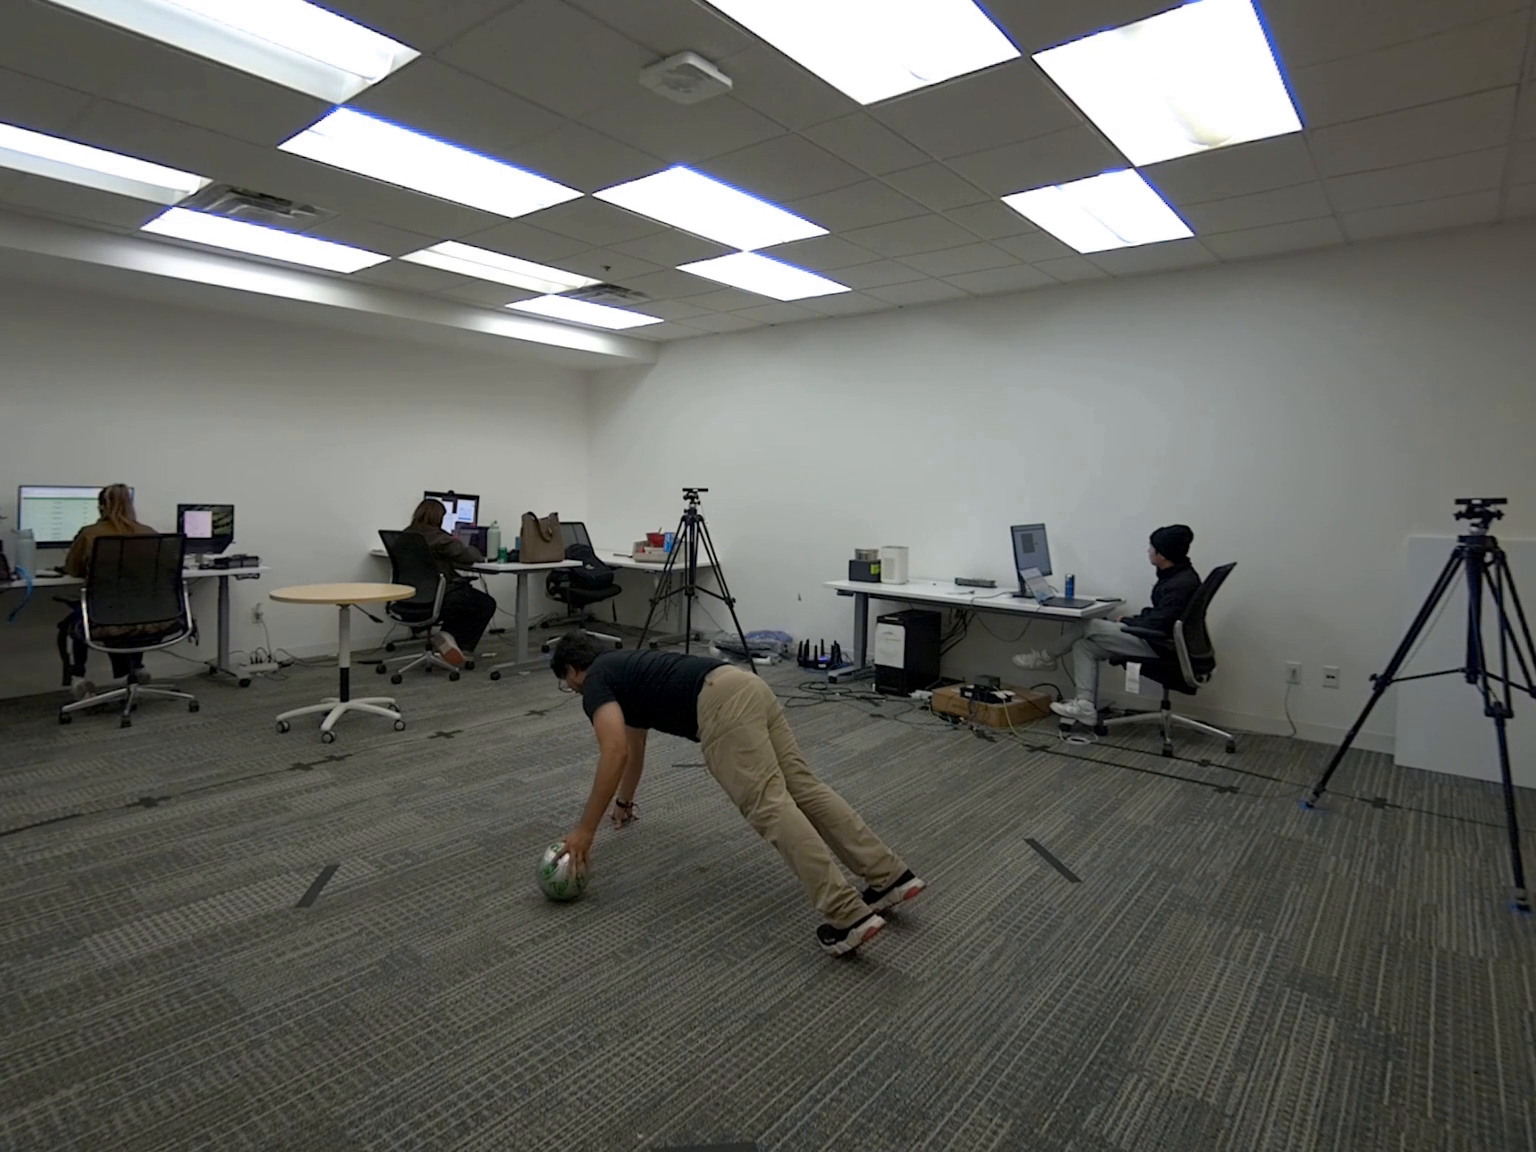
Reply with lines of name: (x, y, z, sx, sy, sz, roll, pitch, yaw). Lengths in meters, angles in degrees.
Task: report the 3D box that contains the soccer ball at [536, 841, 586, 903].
soccer ball: (-0.700, 0.996, 2.886, 0.187, 0.187, 0.188, 1, 4, -2)
